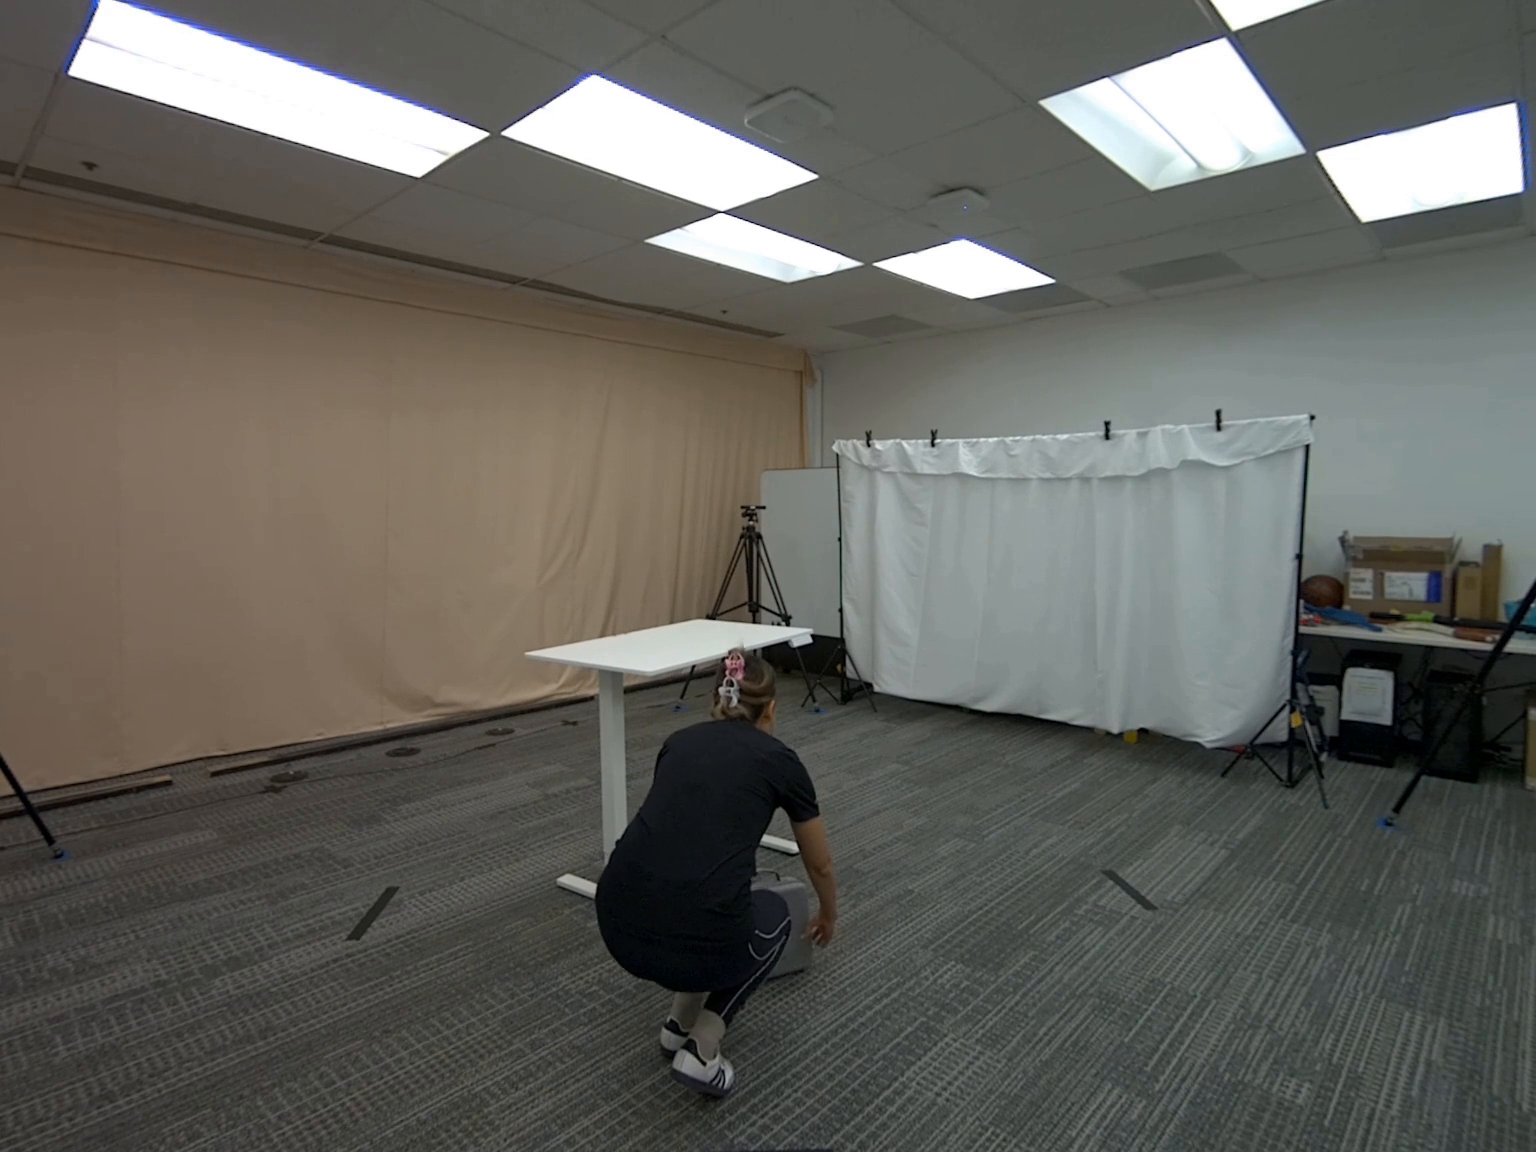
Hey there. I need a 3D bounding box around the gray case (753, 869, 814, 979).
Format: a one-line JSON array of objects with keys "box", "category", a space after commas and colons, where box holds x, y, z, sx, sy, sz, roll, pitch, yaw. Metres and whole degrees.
[{"box": [0.005, 1.049, 2.516, 0.251, 0.262, 0.106, -1, -6, -25], "category": "gray case"}]
